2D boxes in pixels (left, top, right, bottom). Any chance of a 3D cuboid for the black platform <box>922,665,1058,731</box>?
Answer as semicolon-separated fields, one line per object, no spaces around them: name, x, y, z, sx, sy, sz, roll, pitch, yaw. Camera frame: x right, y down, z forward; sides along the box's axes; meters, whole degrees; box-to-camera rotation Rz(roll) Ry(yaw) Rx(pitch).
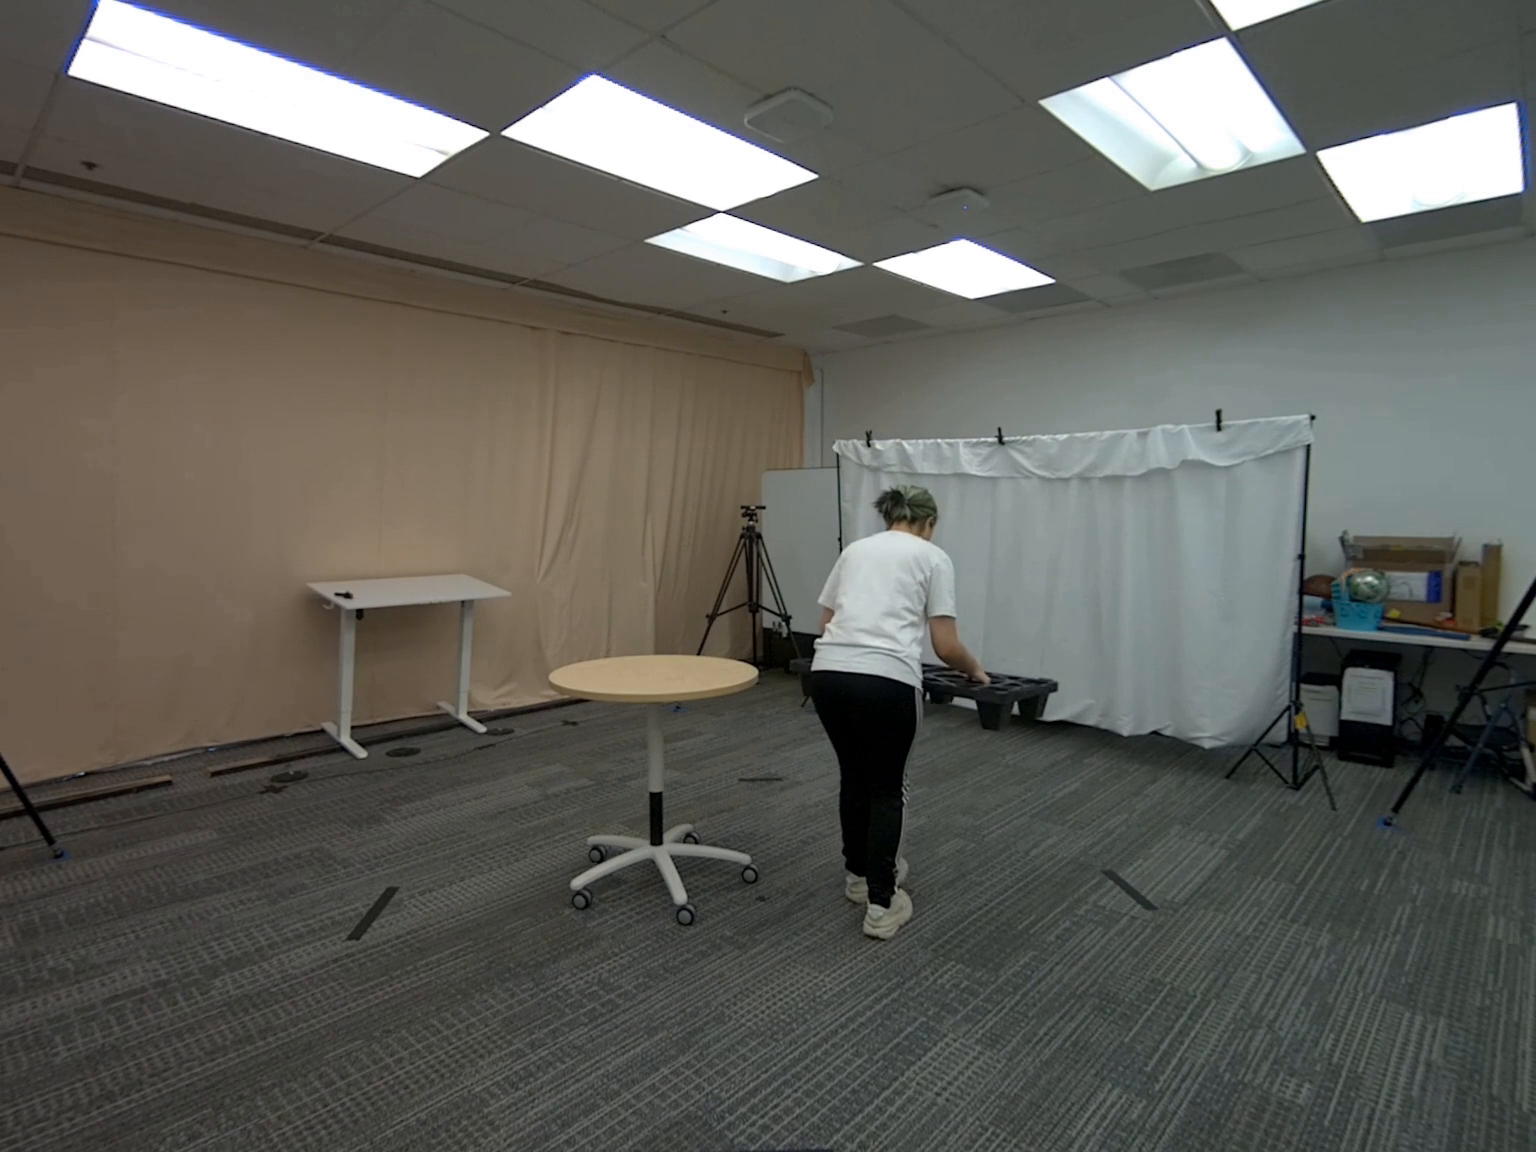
black platform;0.579;0.415;3.108;0.832;0.143;0.586;6;1;35
